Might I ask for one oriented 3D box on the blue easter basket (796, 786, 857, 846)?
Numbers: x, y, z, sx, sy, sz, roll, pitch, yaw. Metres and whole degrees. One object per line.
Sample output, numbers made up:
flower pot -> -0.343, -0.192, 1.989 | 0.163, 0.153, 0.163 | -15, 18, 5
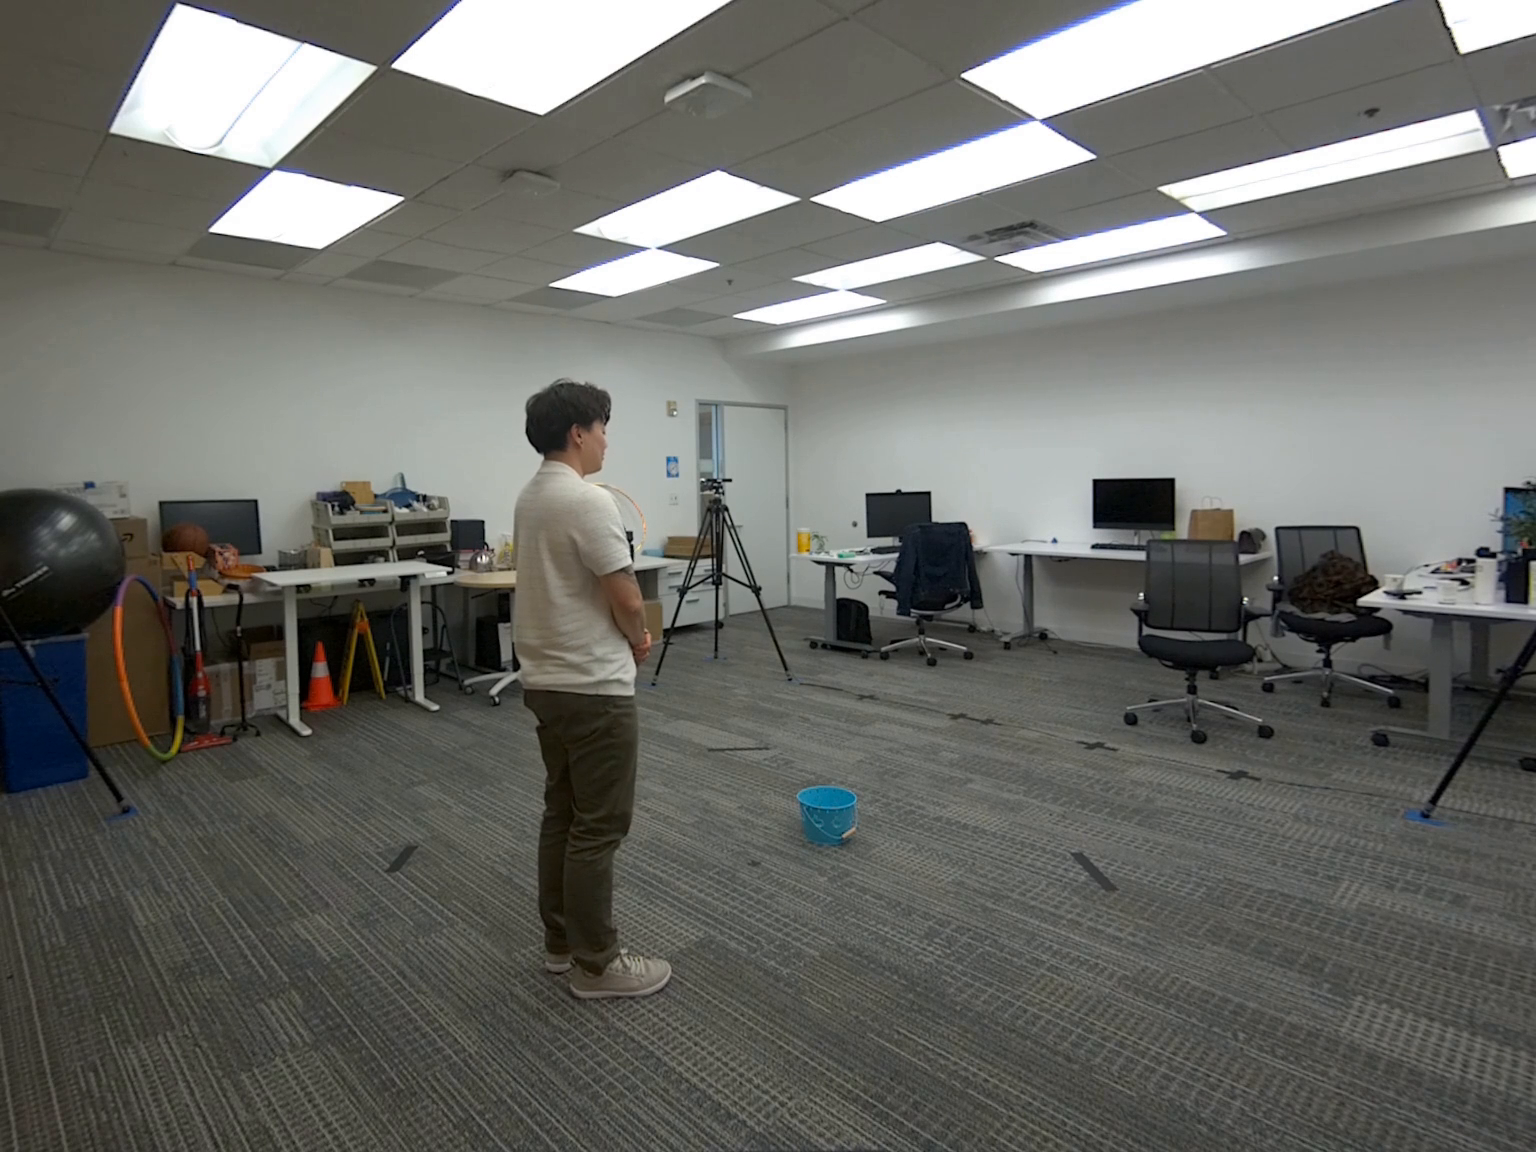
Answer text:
blue easter basket -> 0.232, 0.934, 3.336 | 0.243, 0.155, 0.245 | -1, 5, -2
